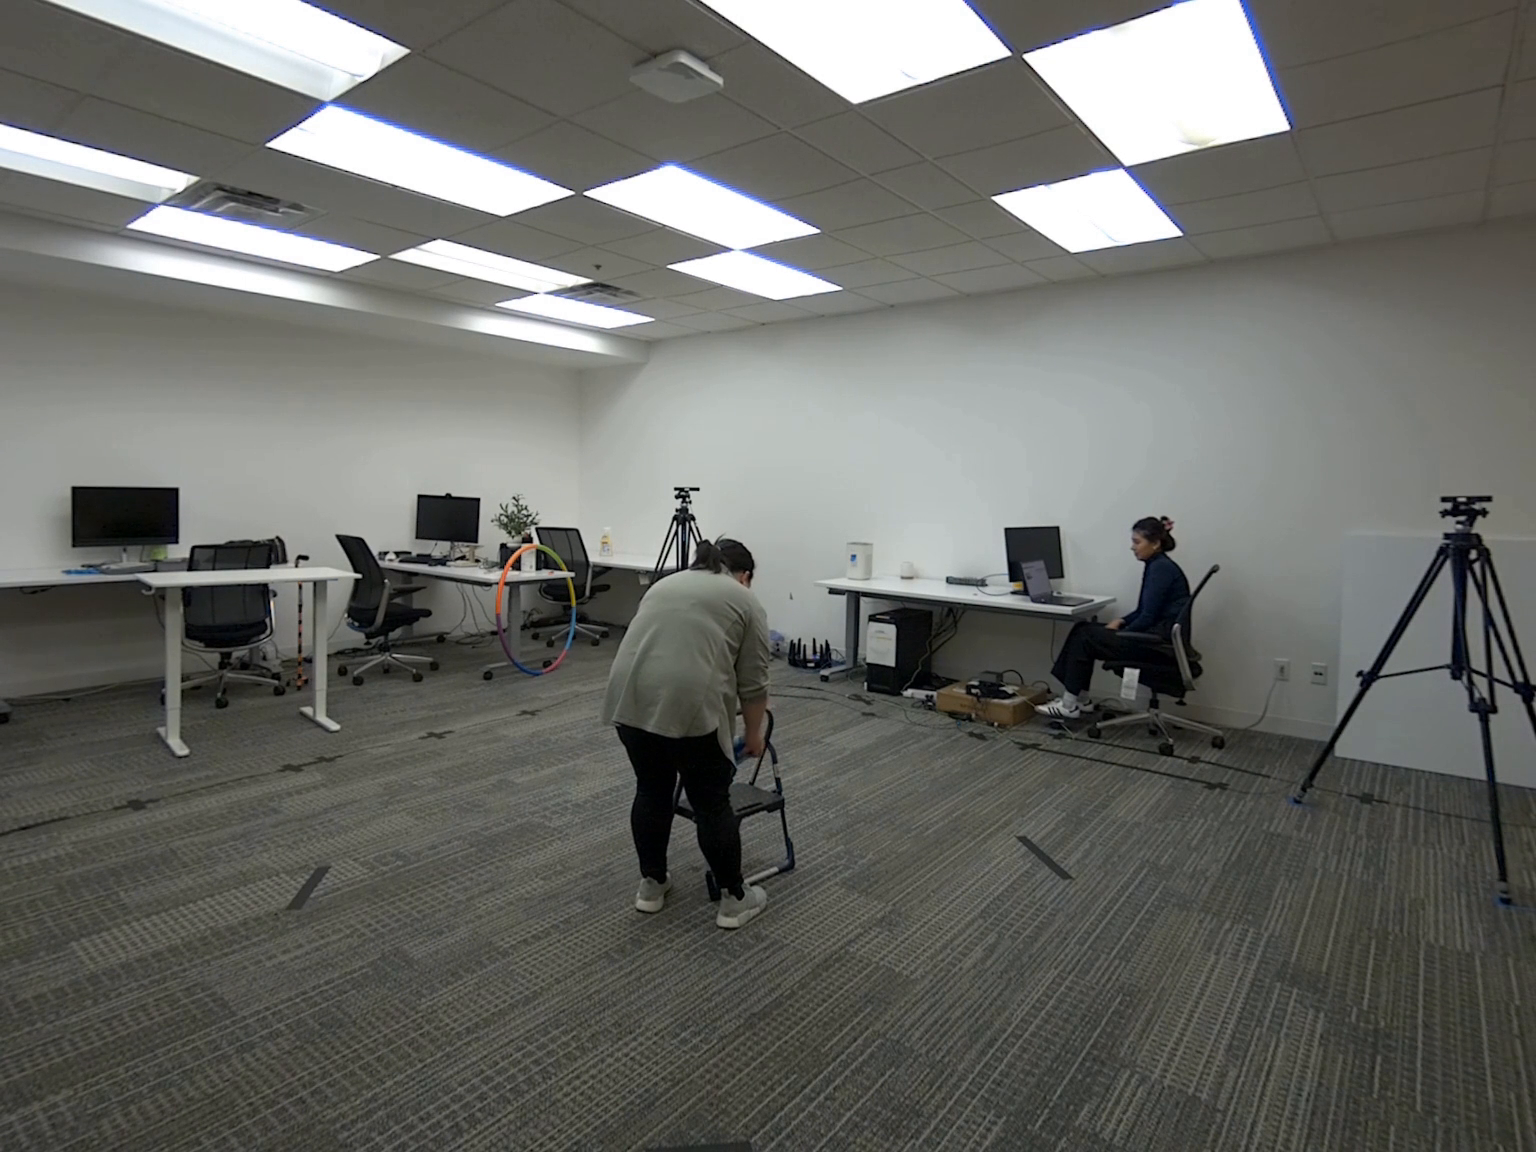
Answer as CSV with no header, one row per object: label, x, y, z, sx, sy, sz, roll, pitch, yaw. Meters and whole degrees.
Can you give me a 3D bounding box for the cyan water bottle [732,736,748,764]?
cyan water bottle,-0.154,0.638,2.994,0.285,0.094,0.090,-37,-9,19
